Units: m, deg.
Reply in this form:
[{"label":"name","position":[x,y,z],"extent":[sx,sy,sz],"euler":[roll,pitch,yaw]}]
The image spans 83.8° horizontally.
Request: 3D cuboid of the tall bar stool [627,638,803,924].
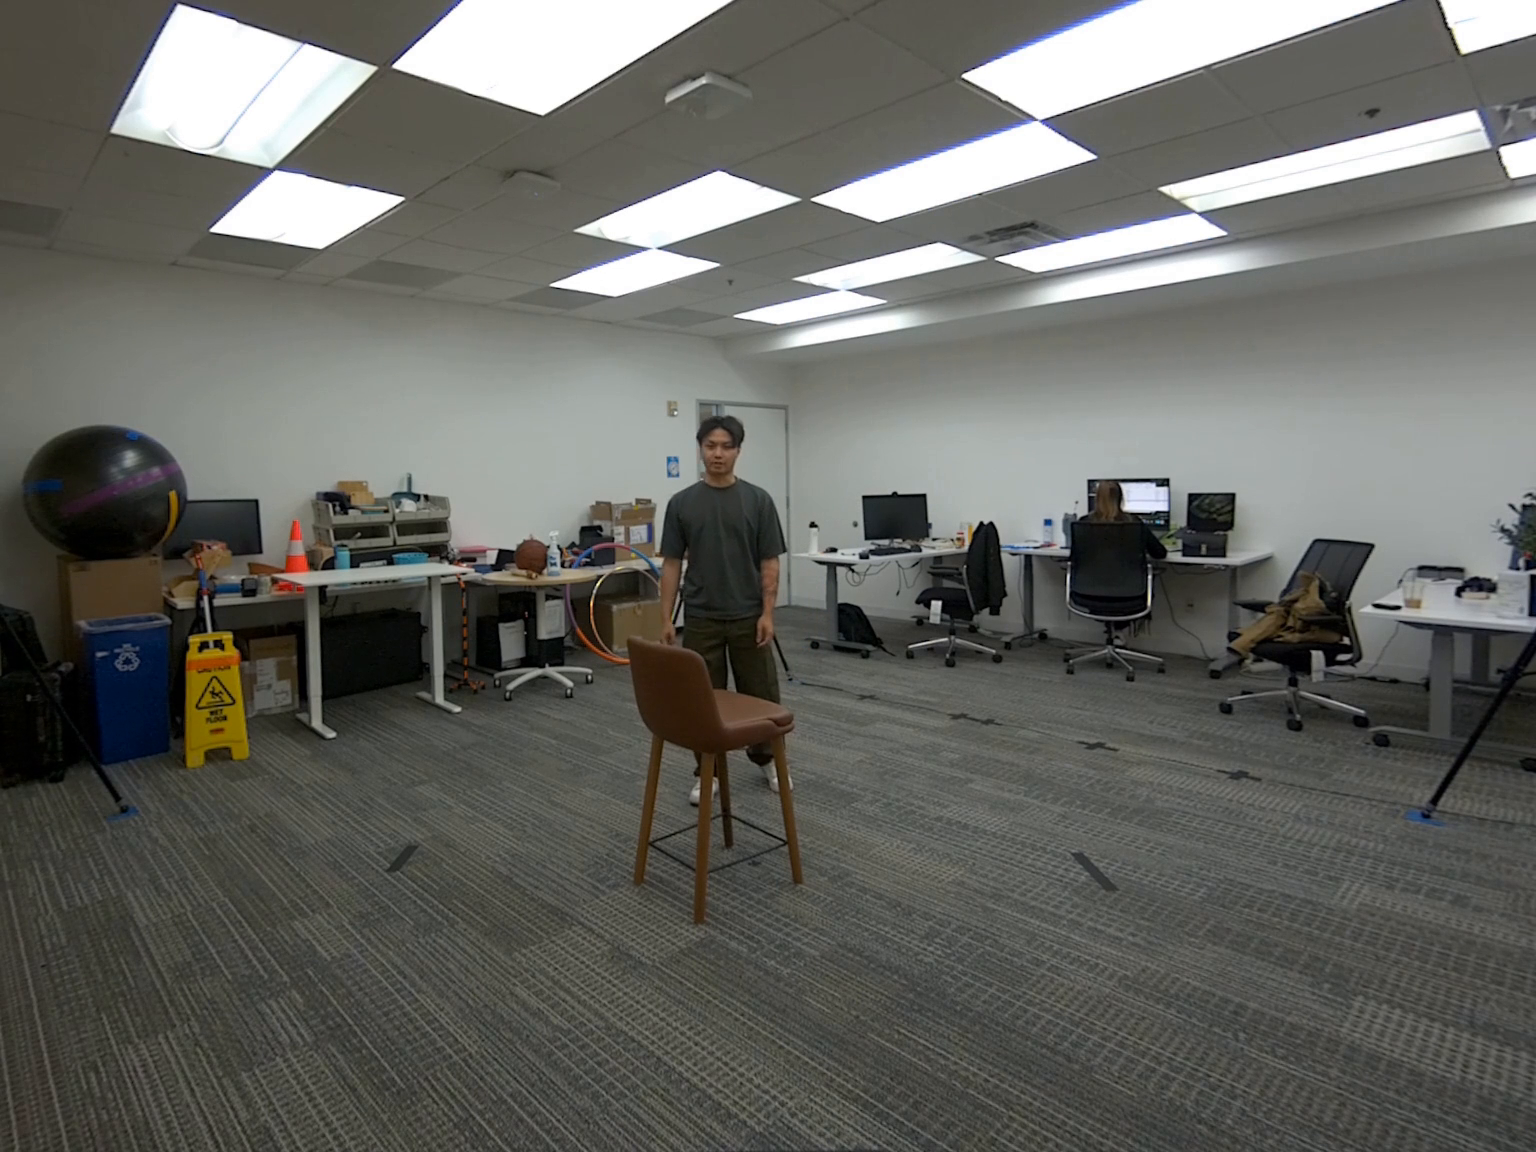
[{"label":"tall bar stool","position":[-0.190,0.635,2.937],"extent":[0.456,0.885,0.470],"euler":[-7,7,-40]}]
